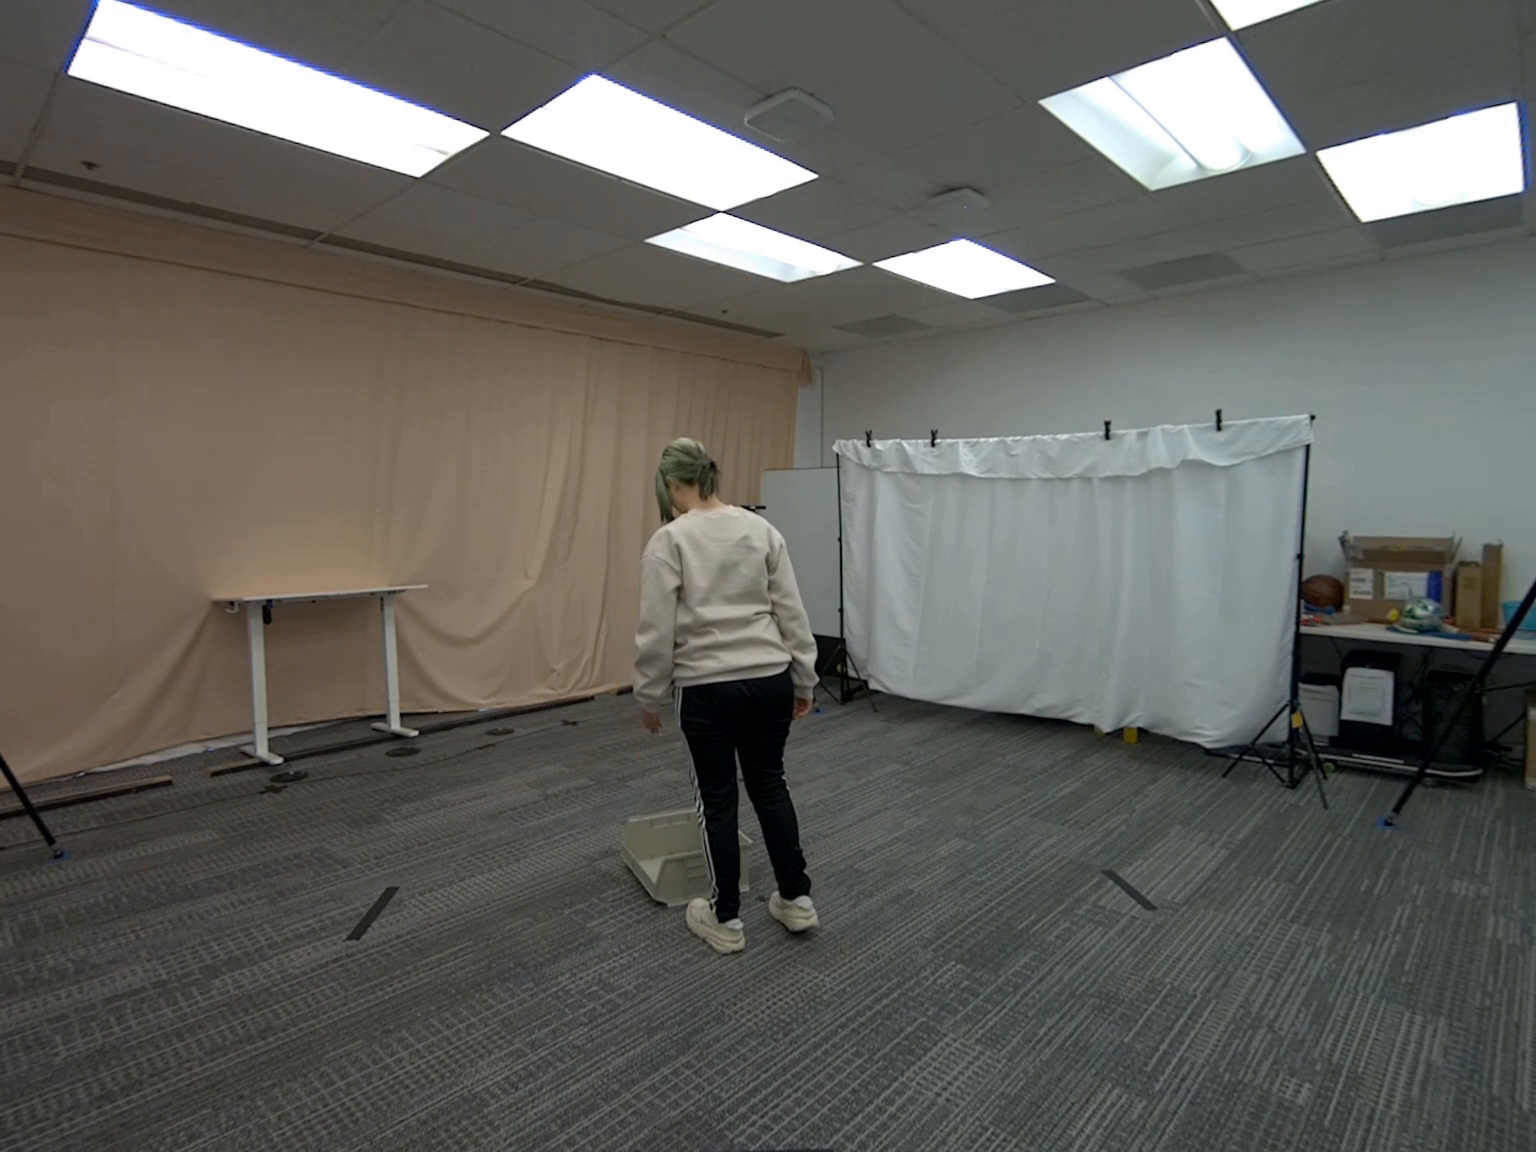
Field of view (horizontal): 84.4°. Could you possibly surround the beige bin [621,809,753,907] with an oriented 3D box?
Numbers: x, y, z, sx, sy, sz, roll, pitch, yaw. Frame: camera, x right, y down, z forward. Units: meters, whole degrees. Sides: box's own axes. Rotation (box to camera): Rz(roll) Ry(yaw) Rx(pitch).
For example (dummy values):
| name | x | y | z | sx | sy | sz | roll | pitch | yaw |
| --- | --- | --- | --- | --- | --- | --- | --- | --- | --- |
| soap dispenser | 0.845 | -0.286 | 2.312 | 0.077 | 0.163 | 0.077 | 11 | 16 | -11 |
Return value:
| name | x | y | z | sx | sy | sz | roll | pitch | yaw |
| --- | --- | --- | --- | --- | --- | --- | --- | --- | --- |
| beige bin | -0.316 | 1.043 | 3.155 | 0.368 | 0.189 | 0.433 | -2 | 4 | -25 |
